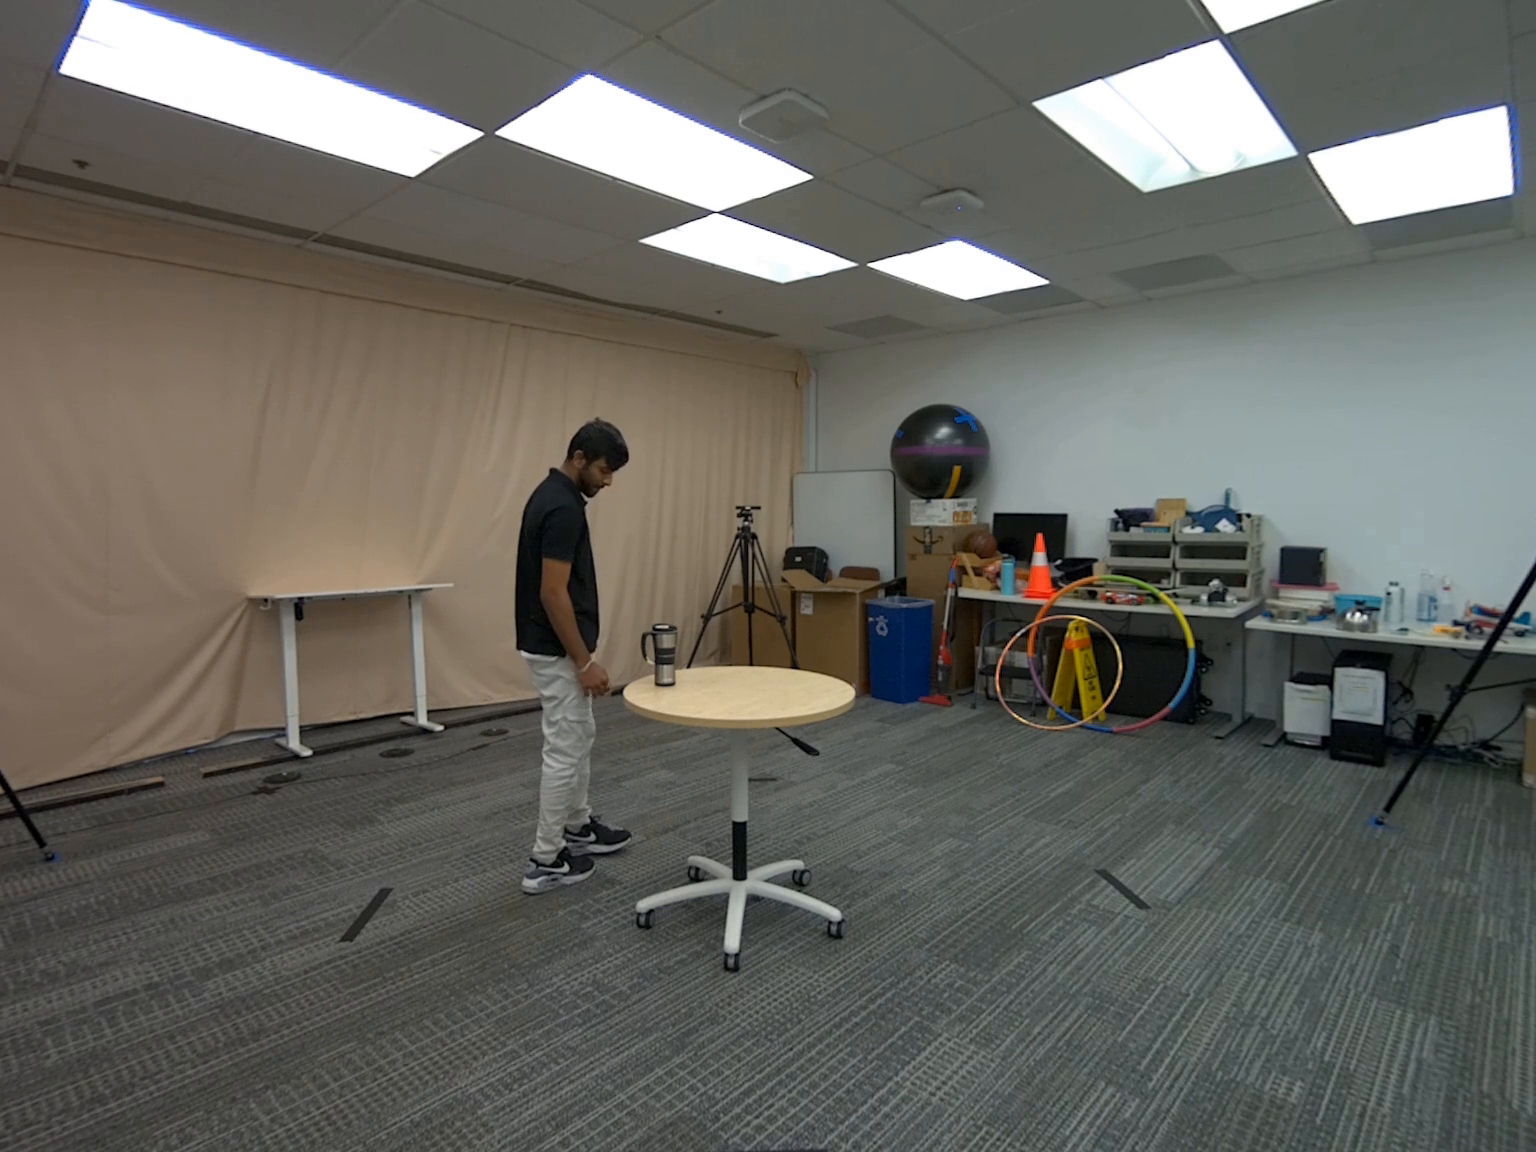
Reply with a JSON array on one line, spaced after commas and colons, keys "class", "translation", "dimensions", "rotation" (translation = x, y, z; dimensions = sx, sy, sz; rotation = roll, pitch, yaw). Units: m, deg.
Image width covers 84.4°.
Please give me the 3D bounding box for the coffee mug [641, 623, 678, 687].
[{"class": "coffee mug", "translation": [-0.364, 0.272, 2.873], "dimensions": [0.124, 0.202, 0.087], "rotation": [2, 7, 16]}]
